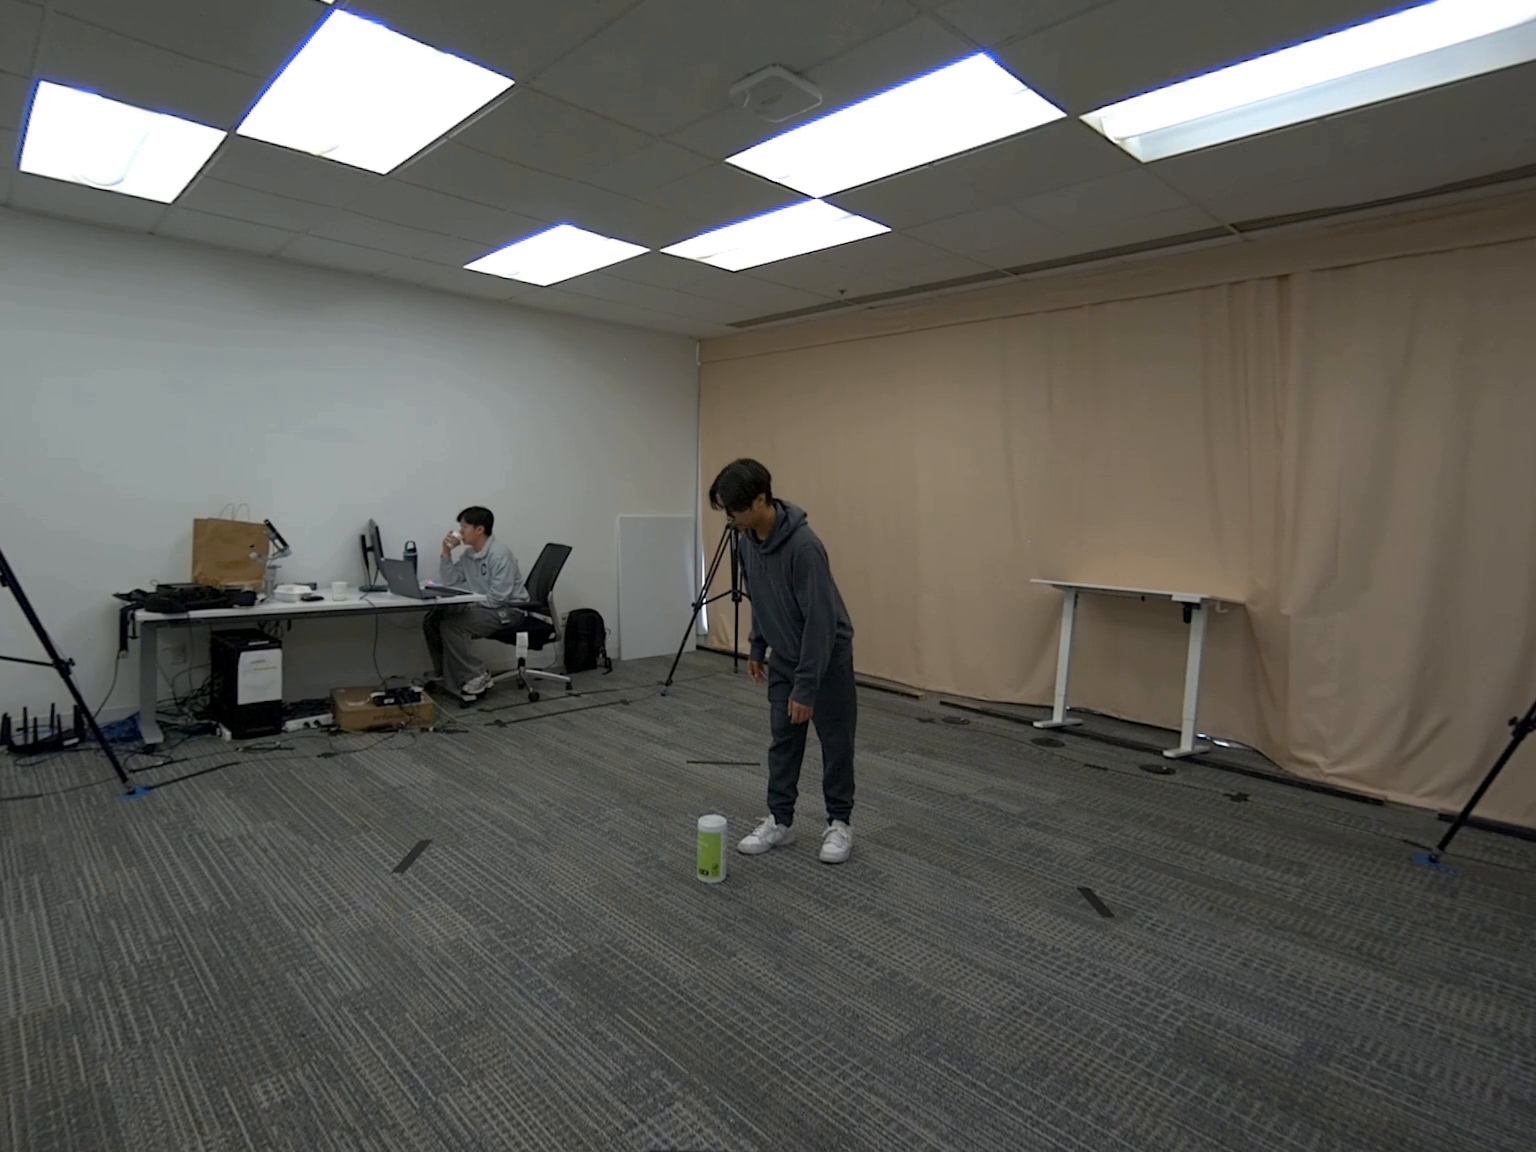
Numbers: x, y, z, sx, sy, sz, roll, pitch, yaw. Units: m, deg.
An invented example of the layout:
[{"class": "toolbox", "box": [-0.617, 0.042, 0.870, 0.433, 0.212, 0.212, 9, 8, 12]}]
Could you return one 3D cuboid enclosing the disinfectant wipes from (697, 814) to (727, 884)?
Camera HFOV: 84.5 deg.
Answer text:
[{"class": "disinfectant wipes", "box": [-0.208, 0.999, 3.085, 0.118, 0.217, 0.118, 1, 3, -1]}]
